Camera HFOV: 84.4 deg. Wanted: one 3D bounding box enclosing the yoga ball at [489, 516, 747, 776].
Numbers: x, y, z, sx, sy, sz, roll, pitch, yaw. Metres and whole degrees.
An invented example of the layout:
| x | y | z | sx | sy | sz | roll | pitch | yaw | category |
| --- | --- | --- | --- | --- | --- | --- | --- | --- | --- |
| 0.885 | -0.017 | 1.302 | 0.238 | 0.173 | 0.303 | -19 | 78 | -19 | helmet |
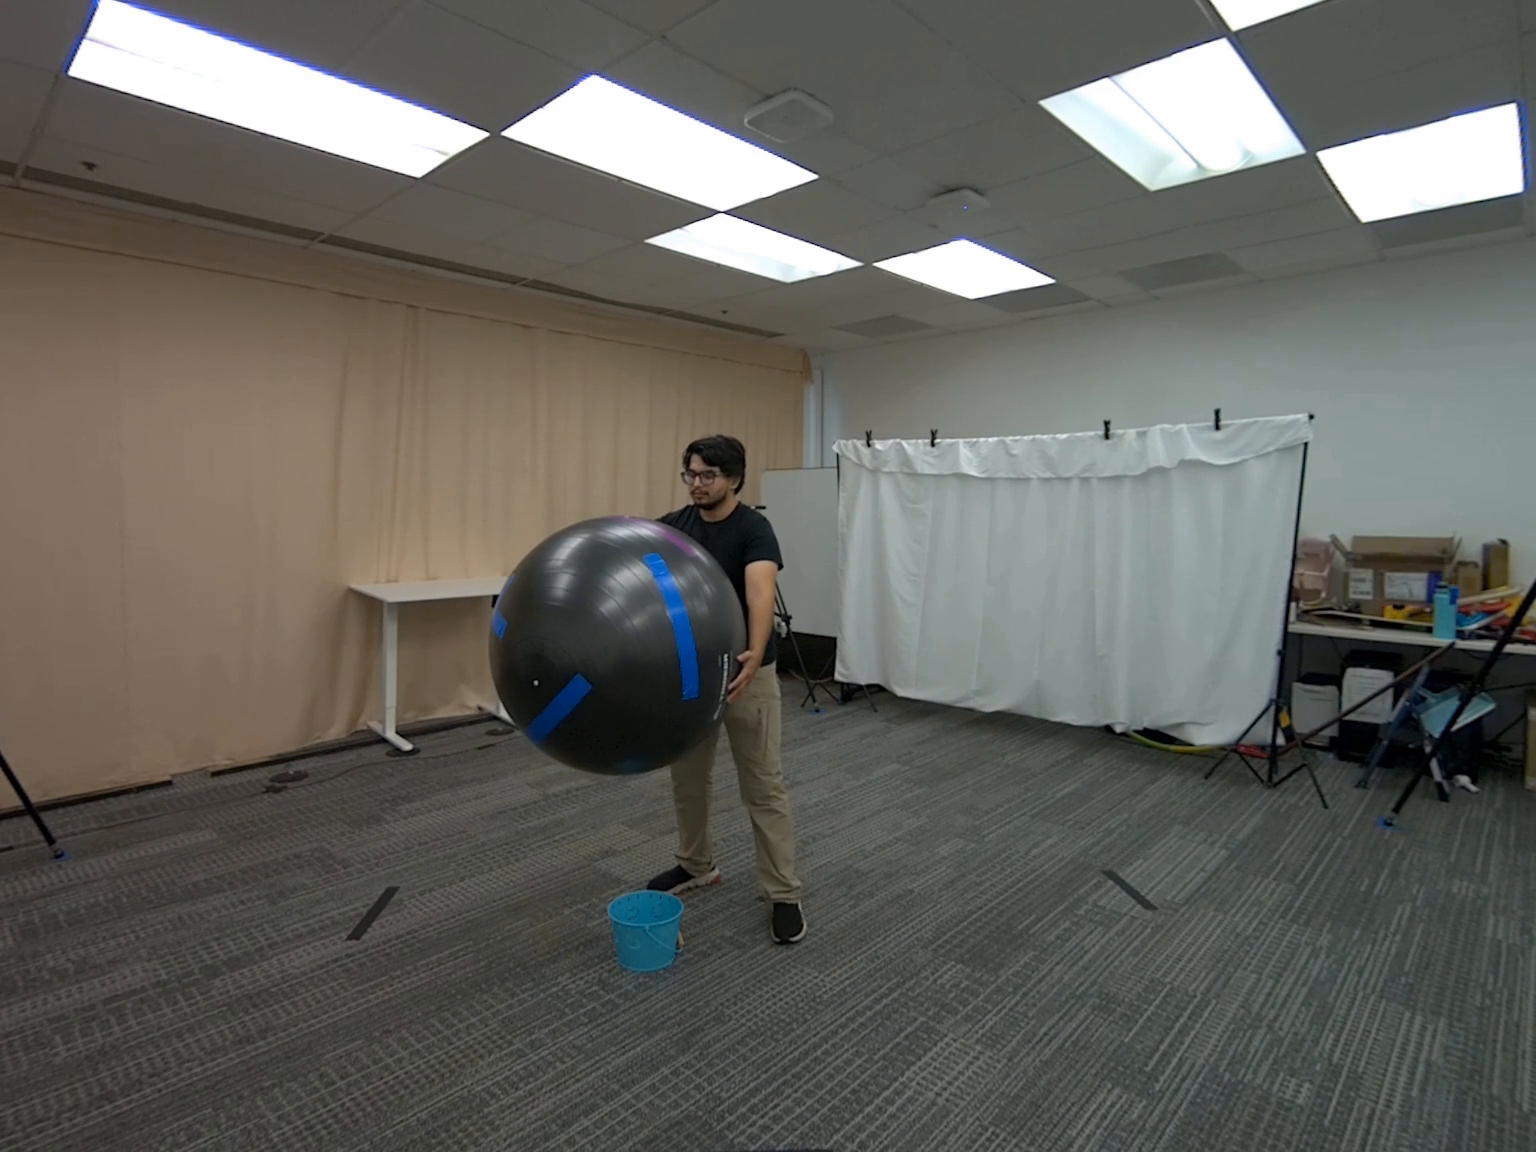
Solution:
| x | y | z | sx | sy | sz | roll | pitch | yaw | category |
| --- | --- | --- | --- | --- | --- | --- | --- | --- | --- |
| -0.443 | 0.208 | 2.496 | 0.757 | 0.756 | 0.760 | 0 | 4 | -2 | yoga ball |
